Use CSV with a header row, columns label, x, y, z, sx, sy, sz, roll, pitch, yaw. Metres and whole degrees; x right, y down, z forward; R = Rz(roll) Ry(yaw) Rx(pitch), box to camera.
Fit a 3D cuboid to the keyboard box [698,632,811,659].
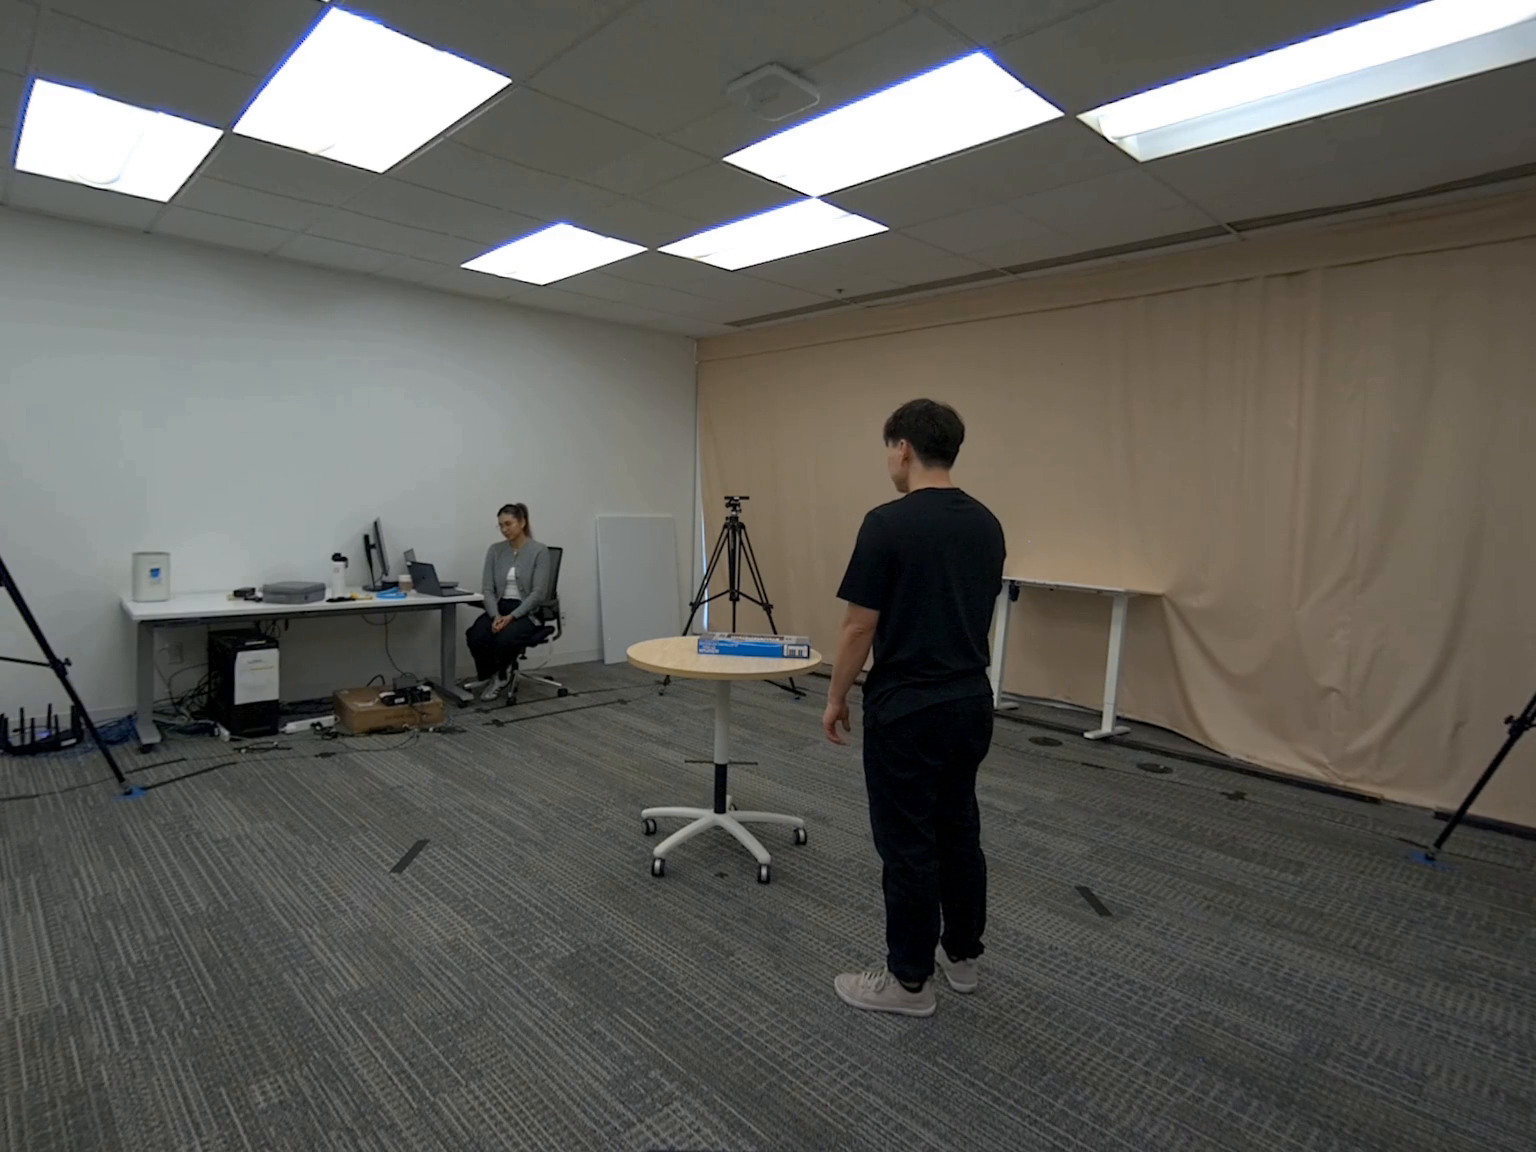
label,x,y,z,sx,sy,sz,roll,pitch,yaw
keyboard box,-0.057,0.272,3.331,0.439,0.059,0.175,2,4,5
